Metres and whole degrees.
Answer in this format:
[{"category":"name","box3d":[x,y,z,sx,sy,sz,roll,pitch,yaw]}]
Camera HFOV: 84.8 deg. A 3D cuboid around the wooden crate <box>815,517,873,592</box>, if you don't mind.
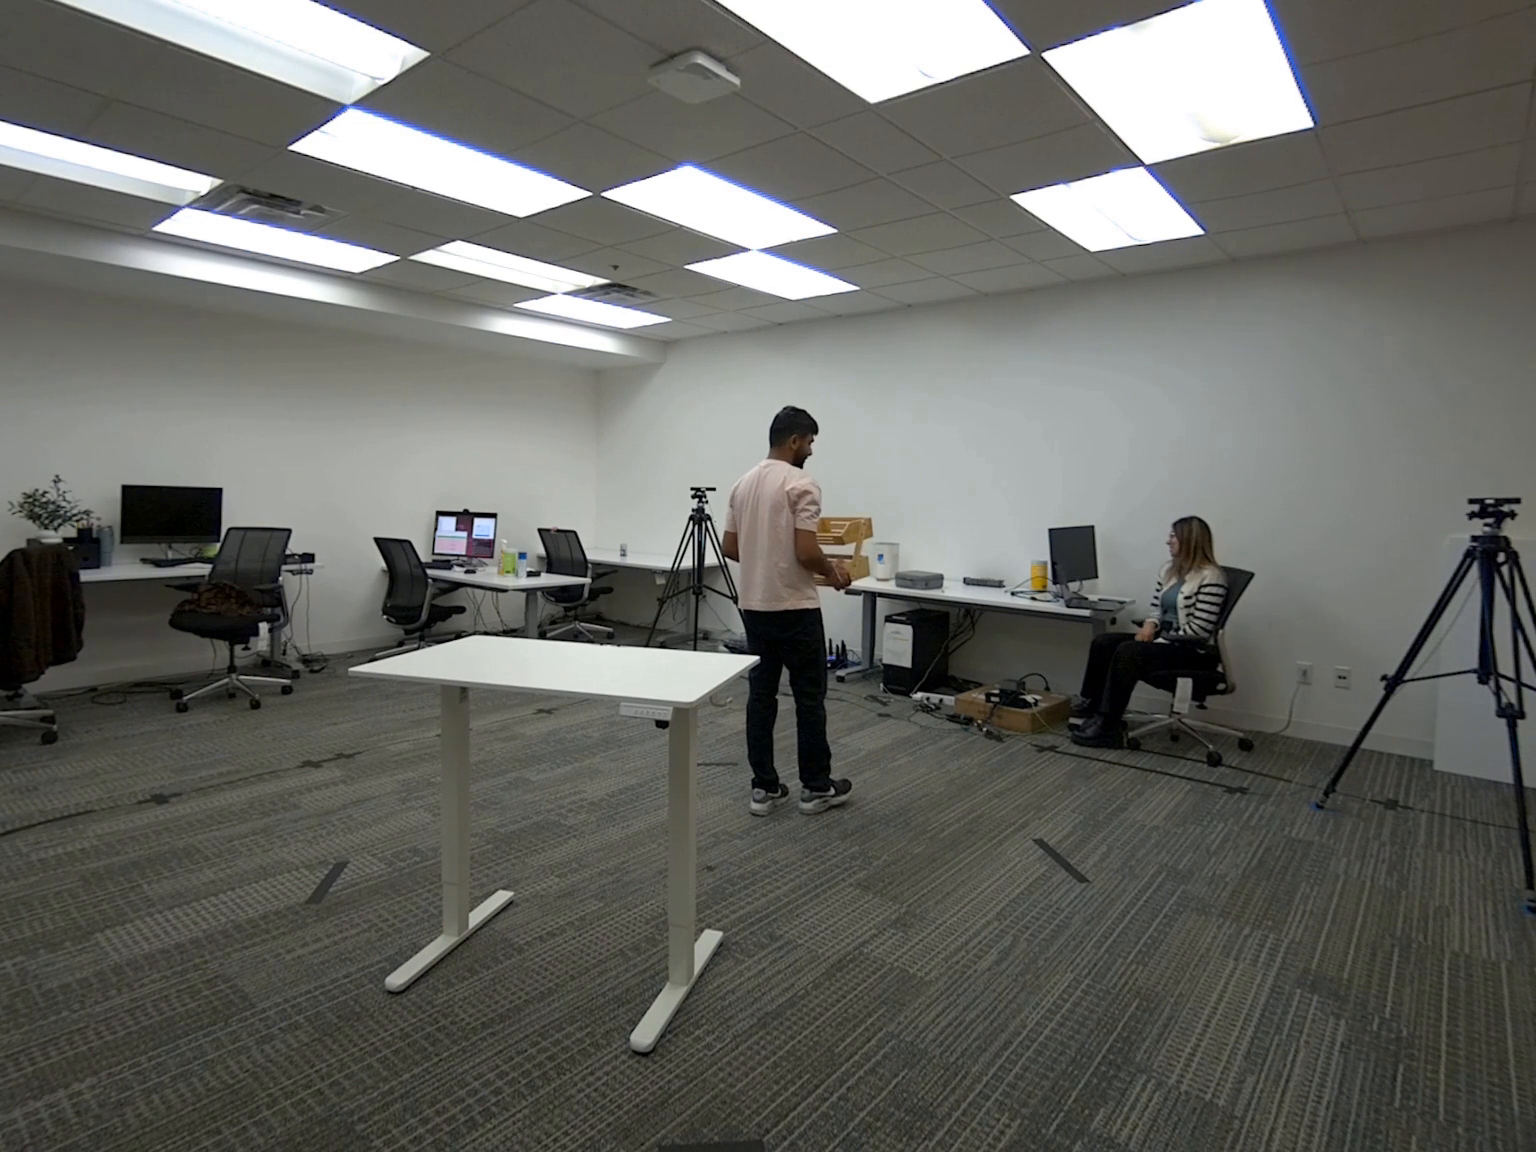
[{"category":"wooden crate","box3d":[0.267,-0.122,3.888,0.295,0.271,0.335,-16,13,-40]}]
